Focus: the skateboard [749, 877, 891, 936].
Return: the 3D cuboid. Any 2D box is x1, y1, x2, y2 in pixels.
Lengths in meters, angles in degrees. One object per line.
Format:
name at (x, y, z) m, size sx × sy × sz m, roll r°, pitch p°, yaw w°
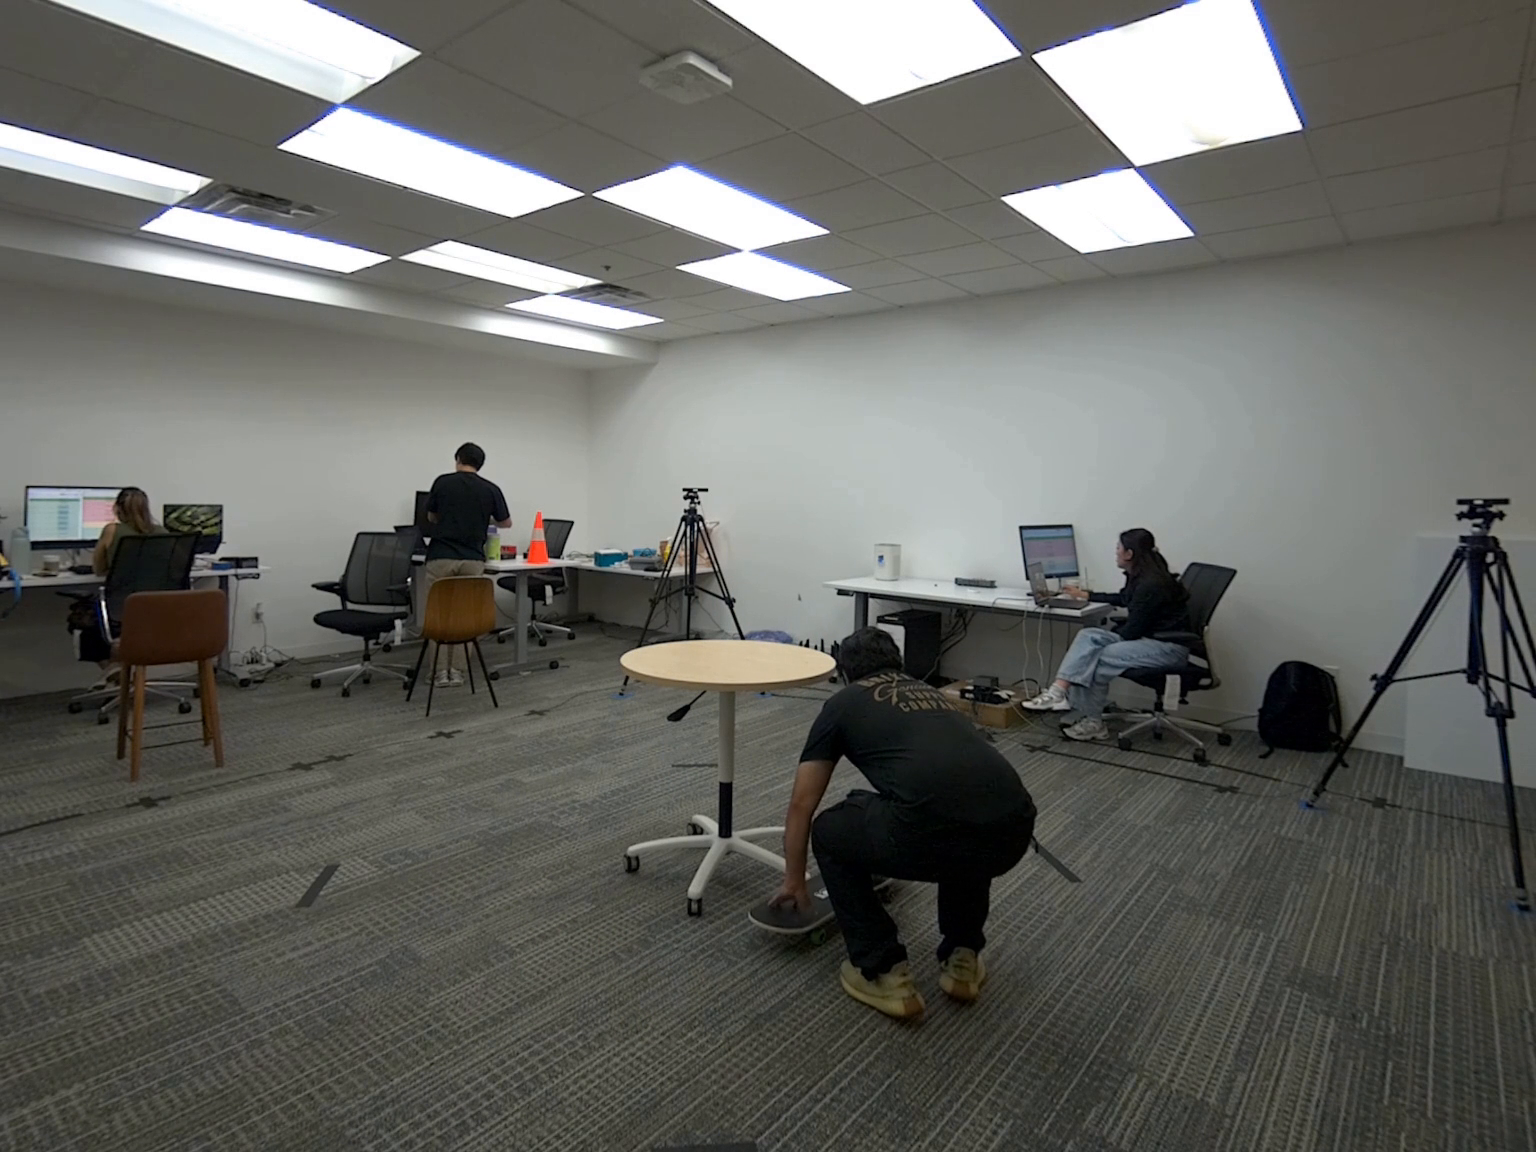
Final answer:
skateboard at (0.218, 1.049, 2.810) m, size 0.200 × 0.110 × 0.762 m, roll 7°, pitch 8°, yaw 42°
